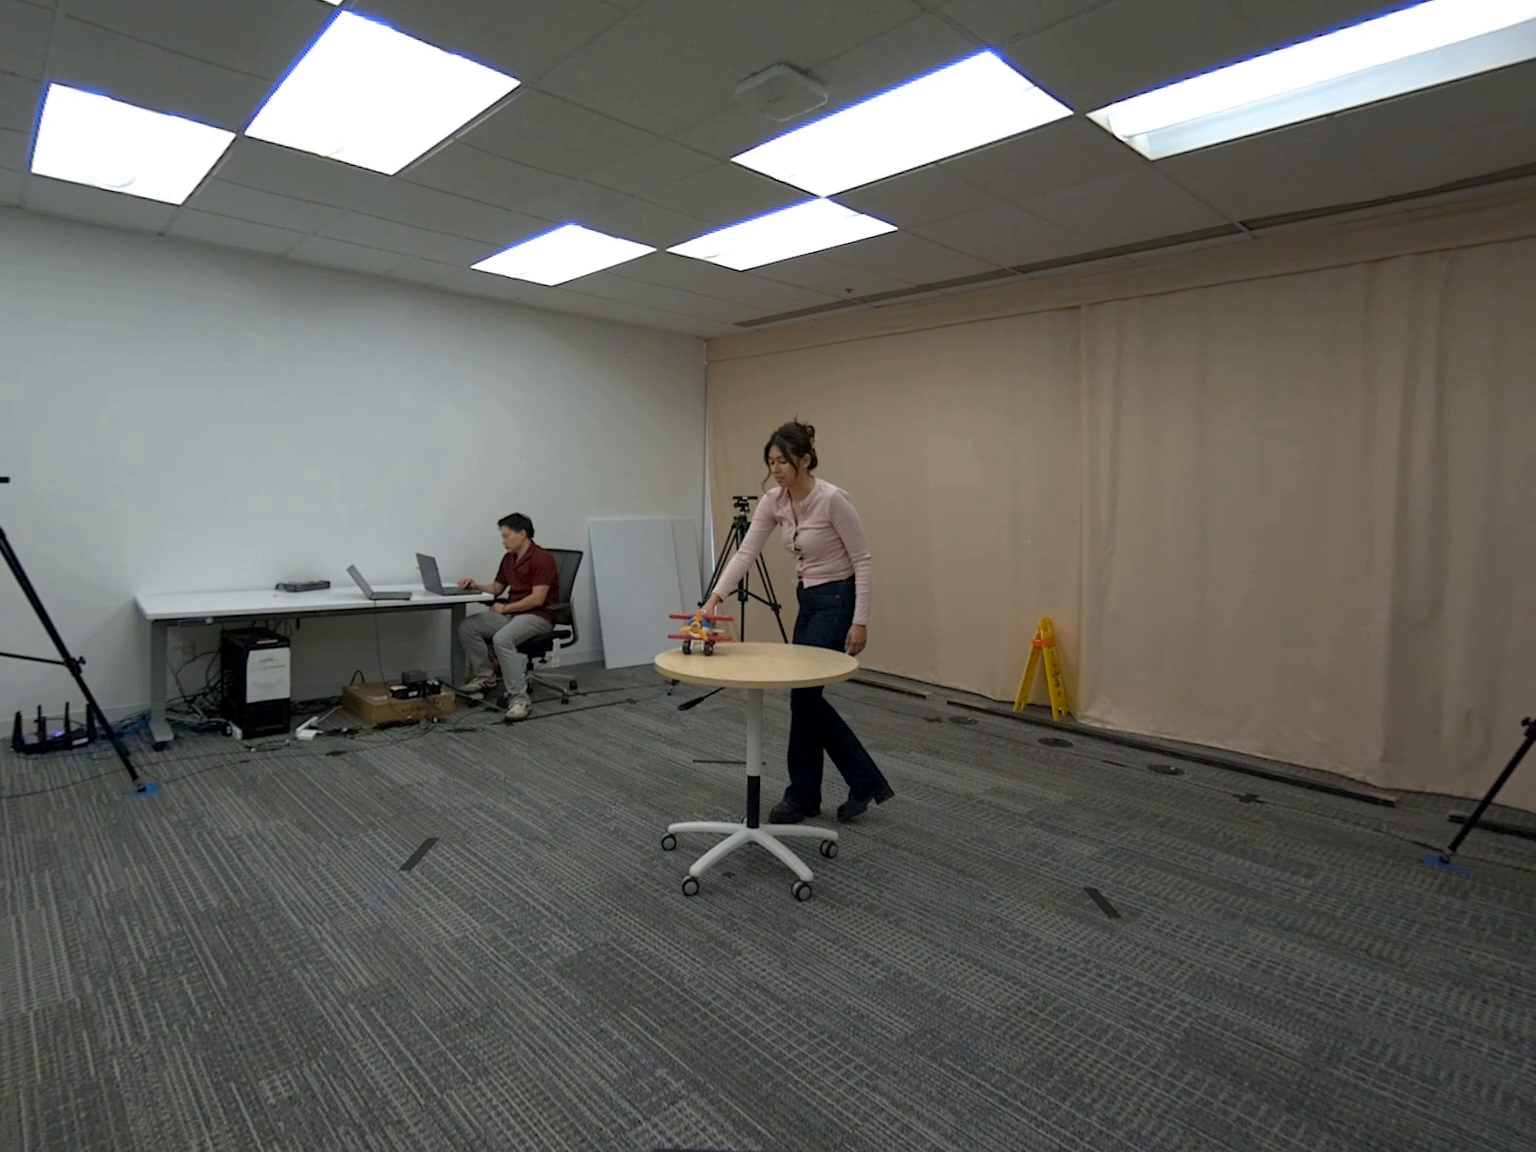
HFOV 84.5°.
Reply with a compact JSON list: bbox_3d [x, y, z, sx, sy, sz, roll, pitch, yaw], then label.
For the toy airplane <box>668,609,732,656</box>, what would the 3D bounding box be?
[{"bbox_3d":[-0.282,0.213,3.336,0.248,0.155,0.264,-3,12,-16],"label":"toy airplane"}]
